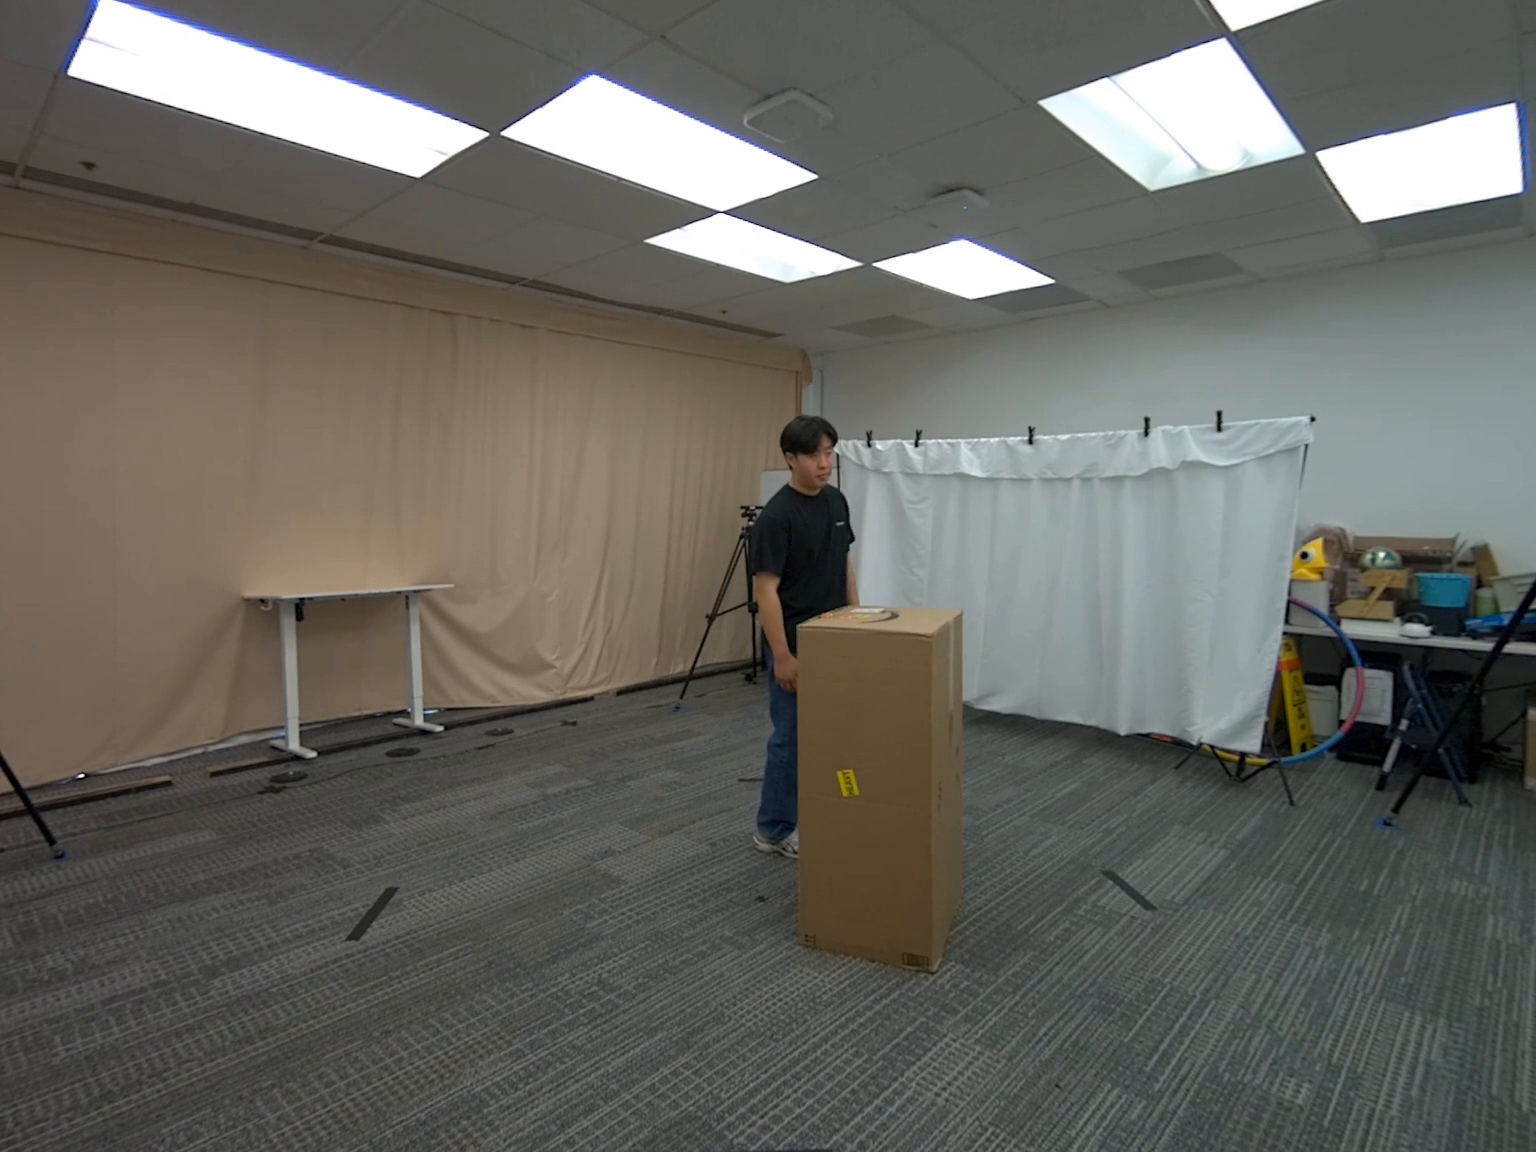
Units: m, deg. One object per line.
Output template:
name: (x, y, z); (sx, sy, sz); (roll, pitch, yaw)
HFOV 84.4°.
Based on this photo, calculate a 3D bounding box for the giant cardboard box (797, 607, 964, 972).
giant cardboard box: (0.394, 0.643, 2.815); (0.458, 1.025, 0.570); (0, 3, 25)
